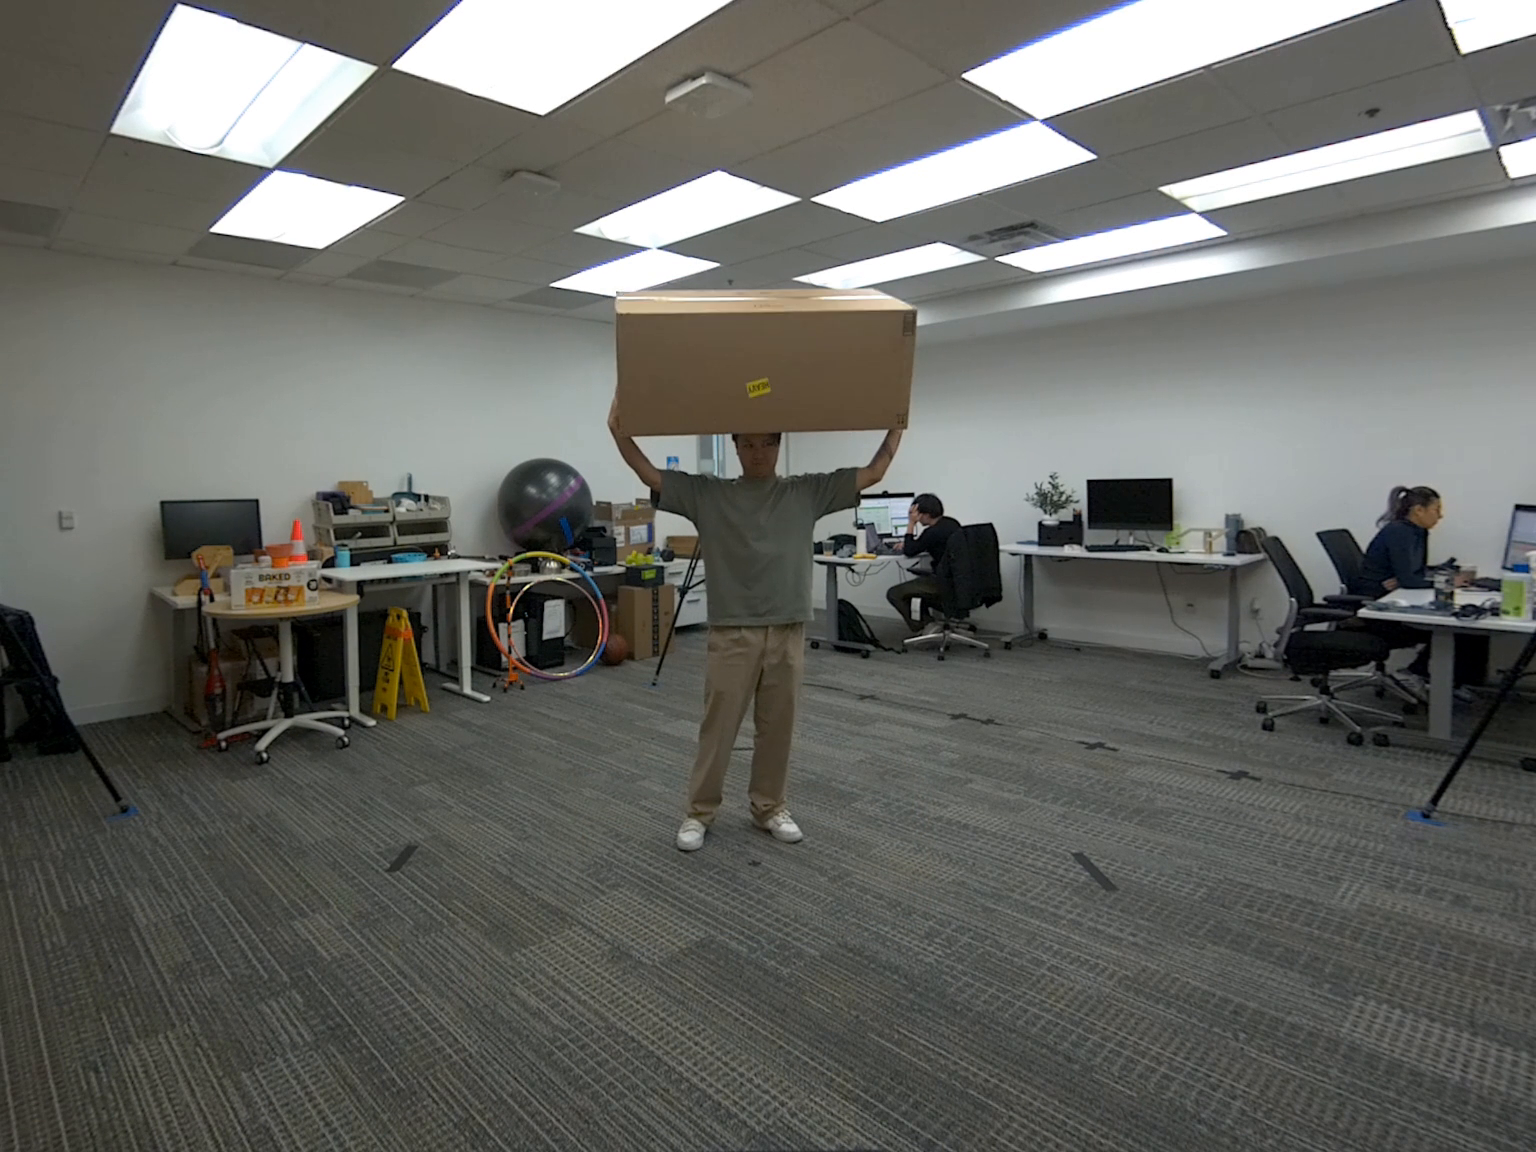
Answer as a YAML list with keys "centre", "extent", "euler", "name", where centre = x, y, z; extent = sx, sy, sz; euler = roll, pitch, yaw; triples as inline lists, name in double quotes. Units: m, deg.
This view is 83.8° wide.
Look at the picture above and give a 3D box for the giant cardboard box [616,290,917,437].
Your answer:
- centre: [-0.047, -0.811, 3.174]
  extent: [1.020, 0.418, 0.592]
  euler: [-3, 23, -6]
  name: "giant cardboard box"
